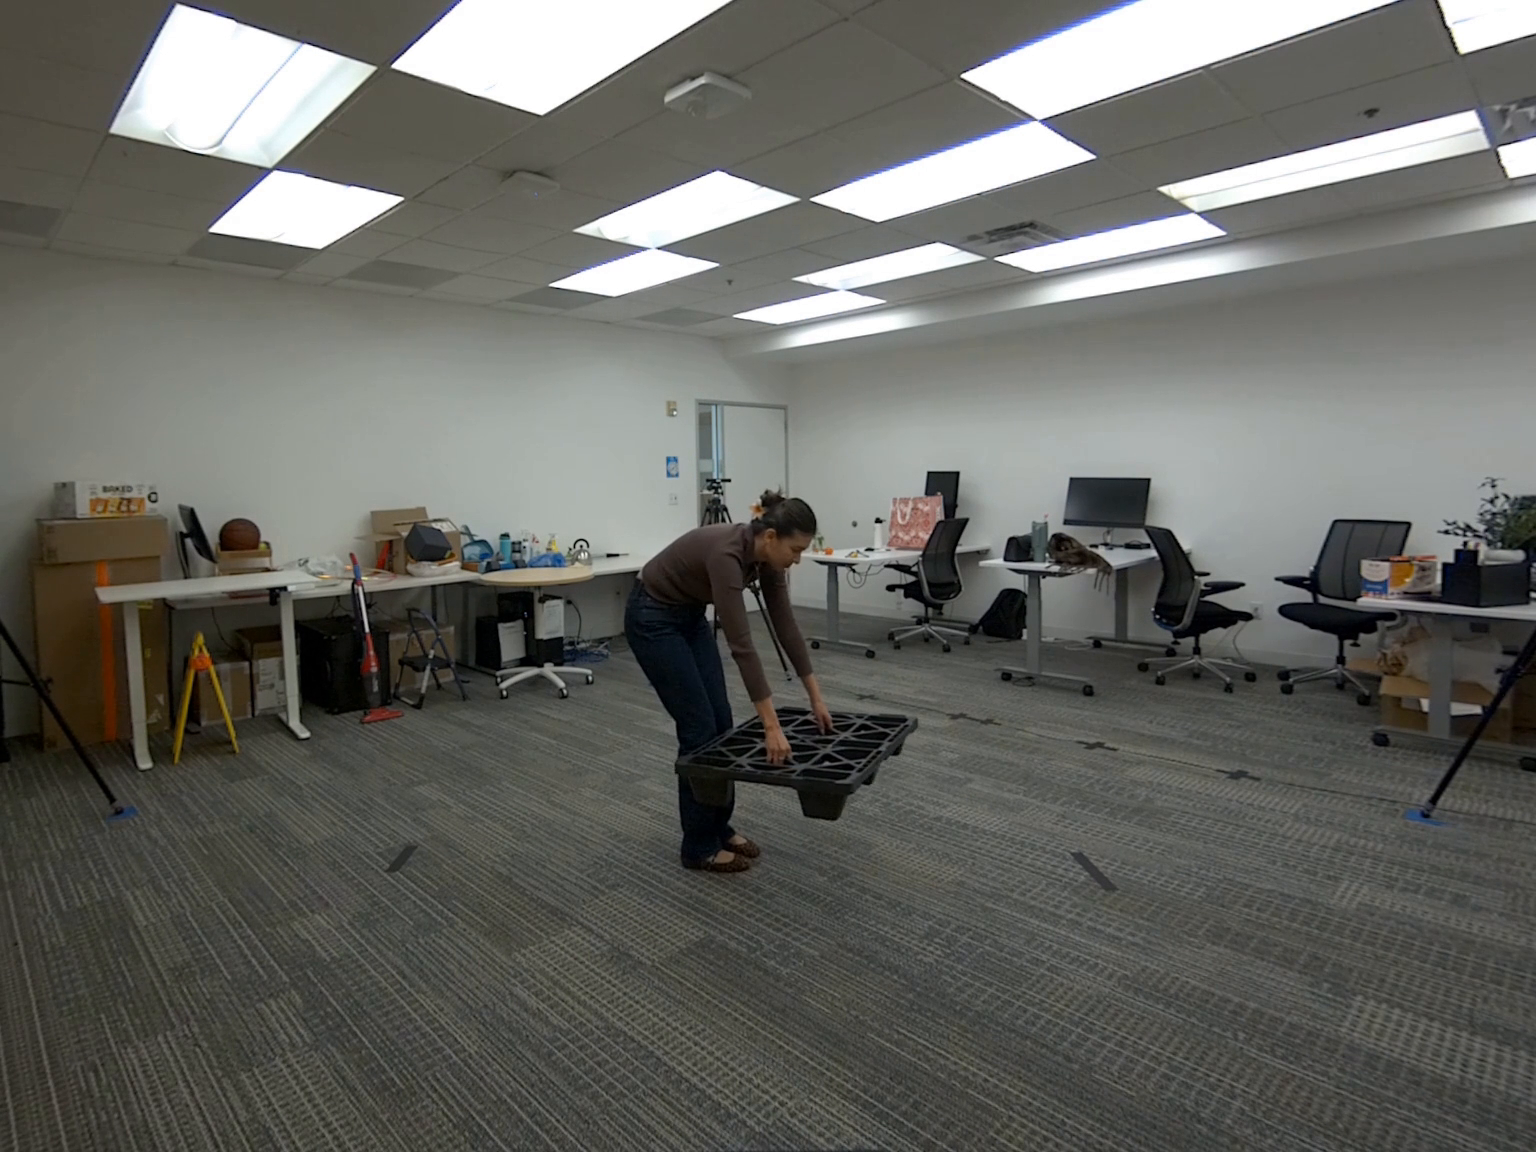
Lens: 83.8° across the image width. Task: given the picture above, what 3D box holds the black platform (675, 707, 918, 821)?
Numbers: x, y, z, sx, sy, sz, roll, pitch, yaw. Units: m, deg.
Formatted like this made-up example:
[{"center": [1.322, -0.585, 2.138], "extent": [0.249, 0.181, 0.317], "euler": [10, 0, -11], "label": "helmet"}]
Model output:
[{"center": [0.127, 0.627, 2.952], "extent": [0.619, 0.143, 0.790], "euler": [-1, 5, 25], "label": "black platform"}]
